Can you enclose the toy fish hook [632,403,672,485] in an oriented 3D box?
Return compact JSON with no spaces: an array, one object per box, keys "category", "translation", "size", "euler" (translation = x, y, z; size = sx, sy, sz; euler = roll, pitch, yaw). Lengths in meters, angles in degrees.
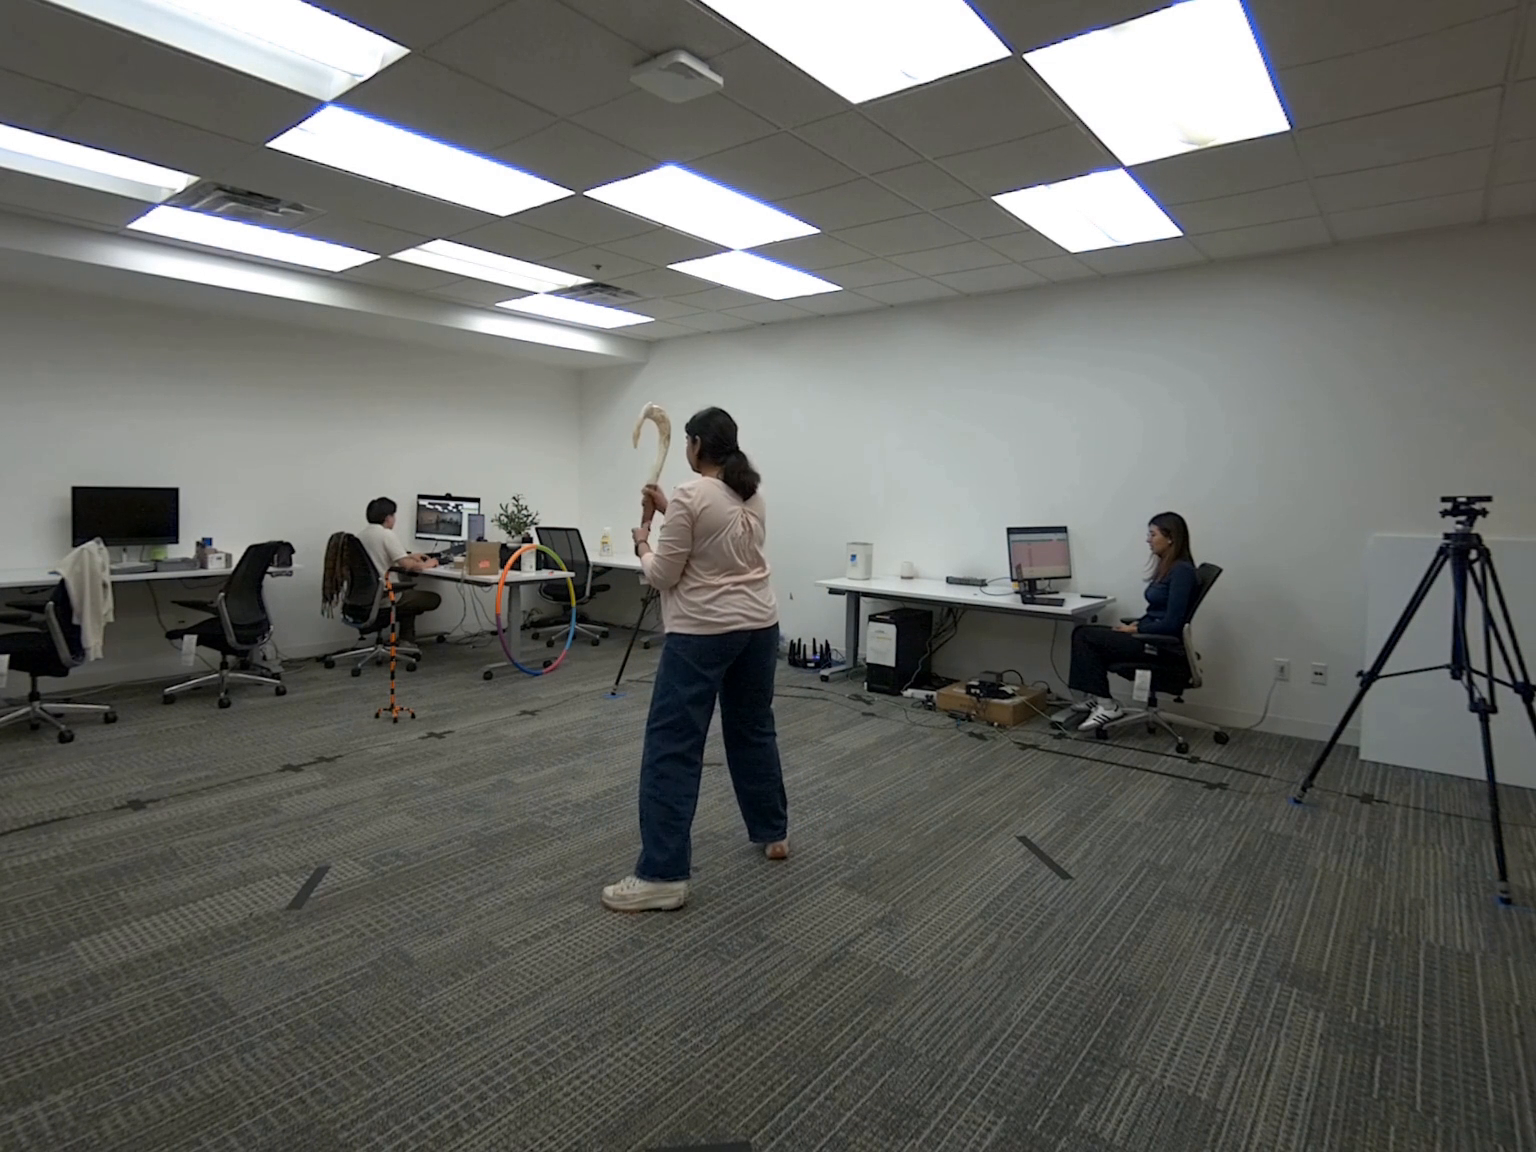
[{"category":"toy fish hook","translation":[-0.483,-0.417,3.283],"size":[0.050,0.510,0.216],"euler":[1,-9,34]}]
